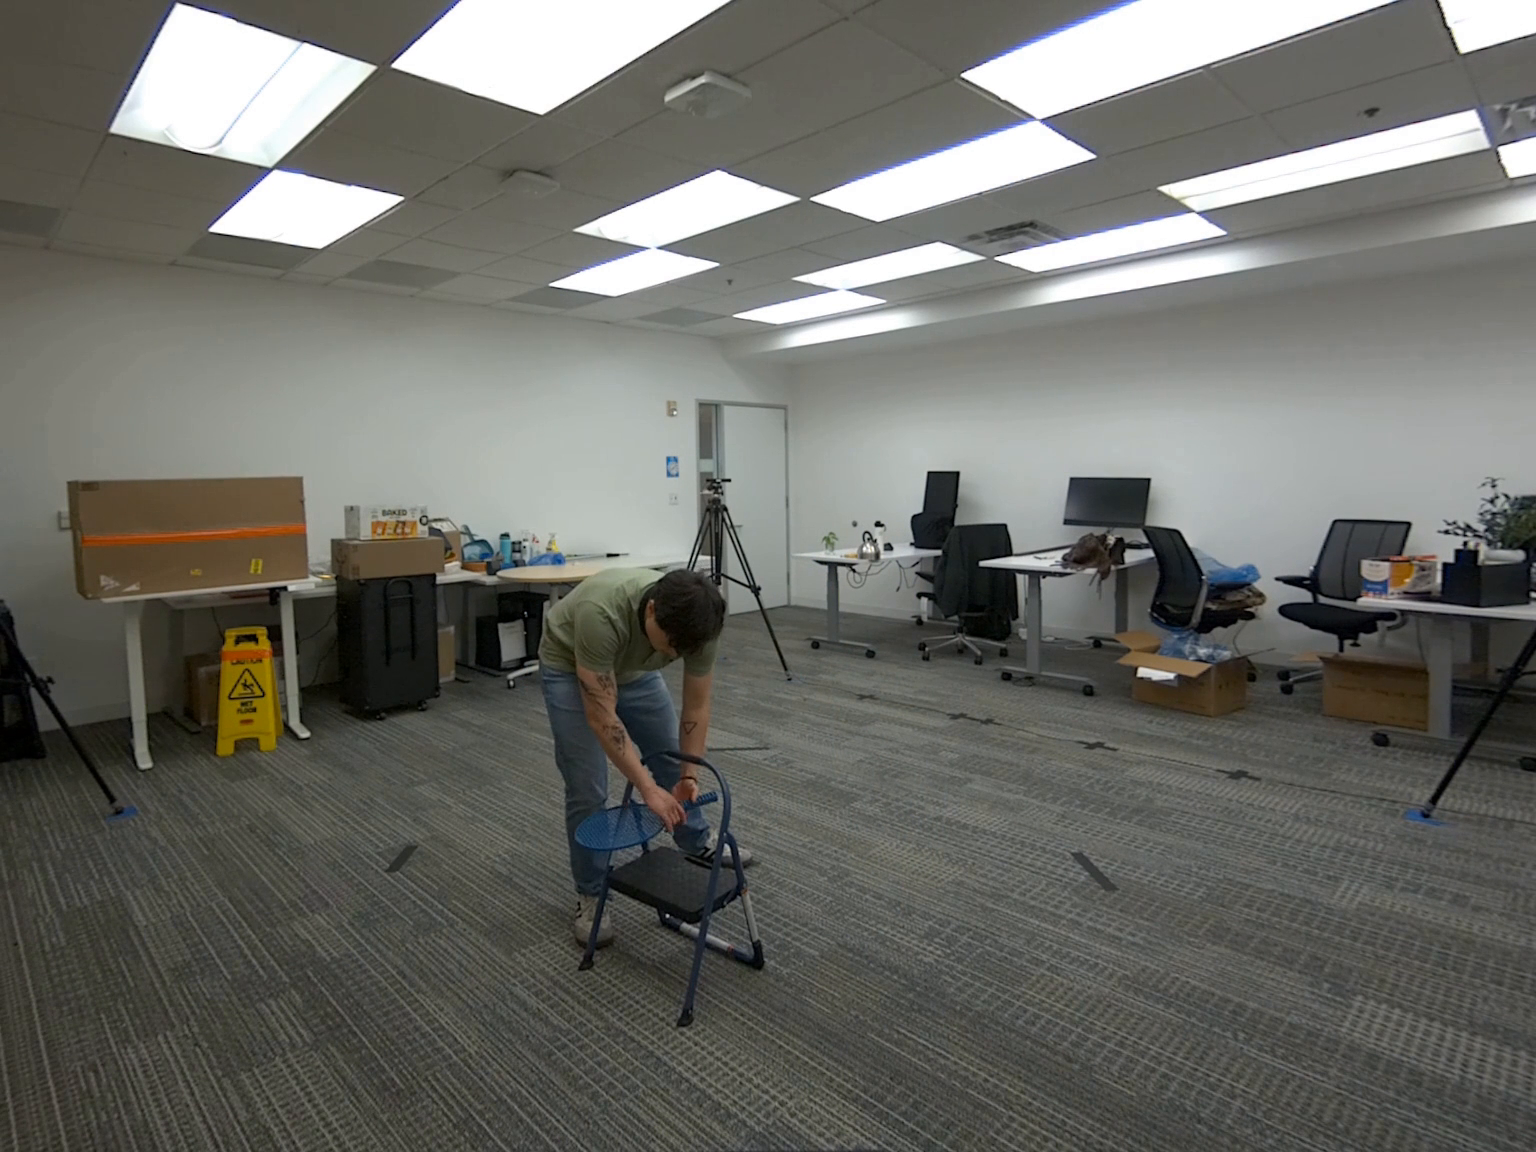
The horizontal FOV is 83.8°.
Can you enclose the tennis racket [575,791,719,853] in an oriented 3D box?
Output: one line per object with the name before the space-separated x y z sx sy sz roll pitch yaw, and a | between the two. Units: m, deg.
tennis racket | -0.354 0.714 2.470 0.424 0.031 0.221 -10 17 -28
